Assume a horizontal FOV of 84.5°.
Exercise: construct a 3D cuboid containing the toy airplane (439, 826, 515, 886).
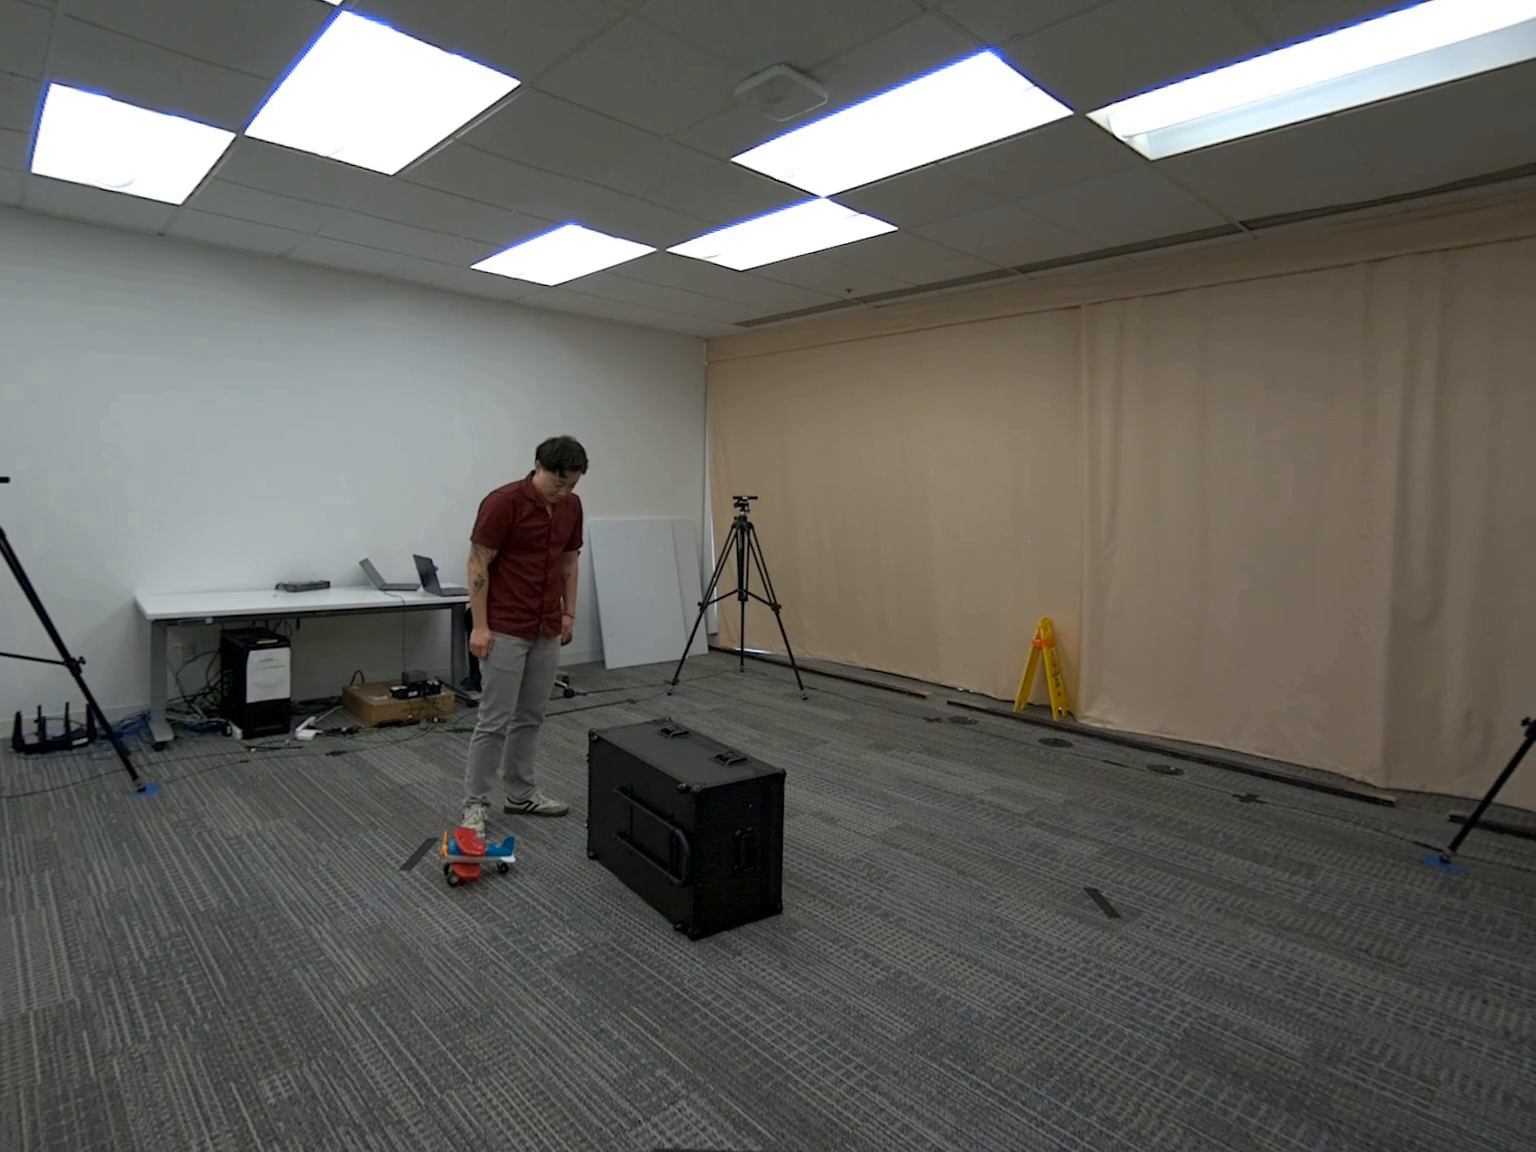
[{"bbox_3d":[-1.061,1.007,3.056,0.257,0.156,0.254,4,7,33],"label":"toy airplane"}]
